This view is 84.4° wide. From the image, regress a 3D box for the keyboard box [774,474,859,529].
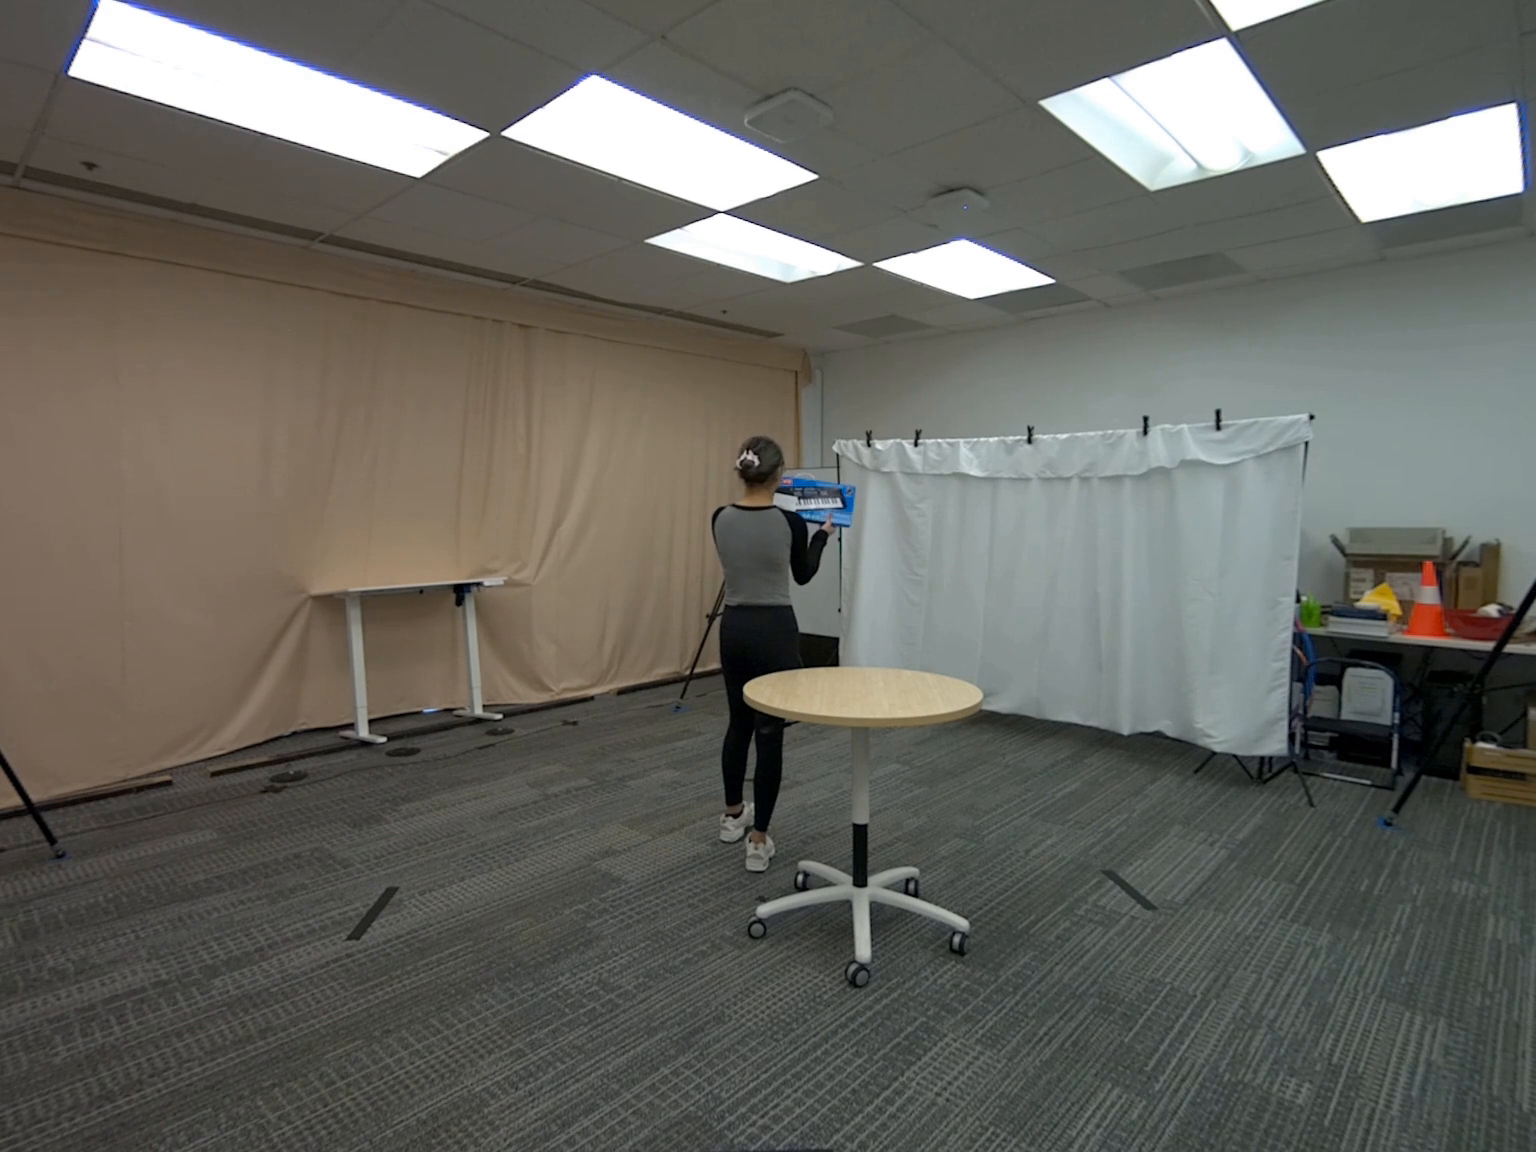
[{"bbox_3d":[0.152,-0.327,3.608,0.439,0.176,0.058,9,-8,4],"label":"keyboard box"}]
